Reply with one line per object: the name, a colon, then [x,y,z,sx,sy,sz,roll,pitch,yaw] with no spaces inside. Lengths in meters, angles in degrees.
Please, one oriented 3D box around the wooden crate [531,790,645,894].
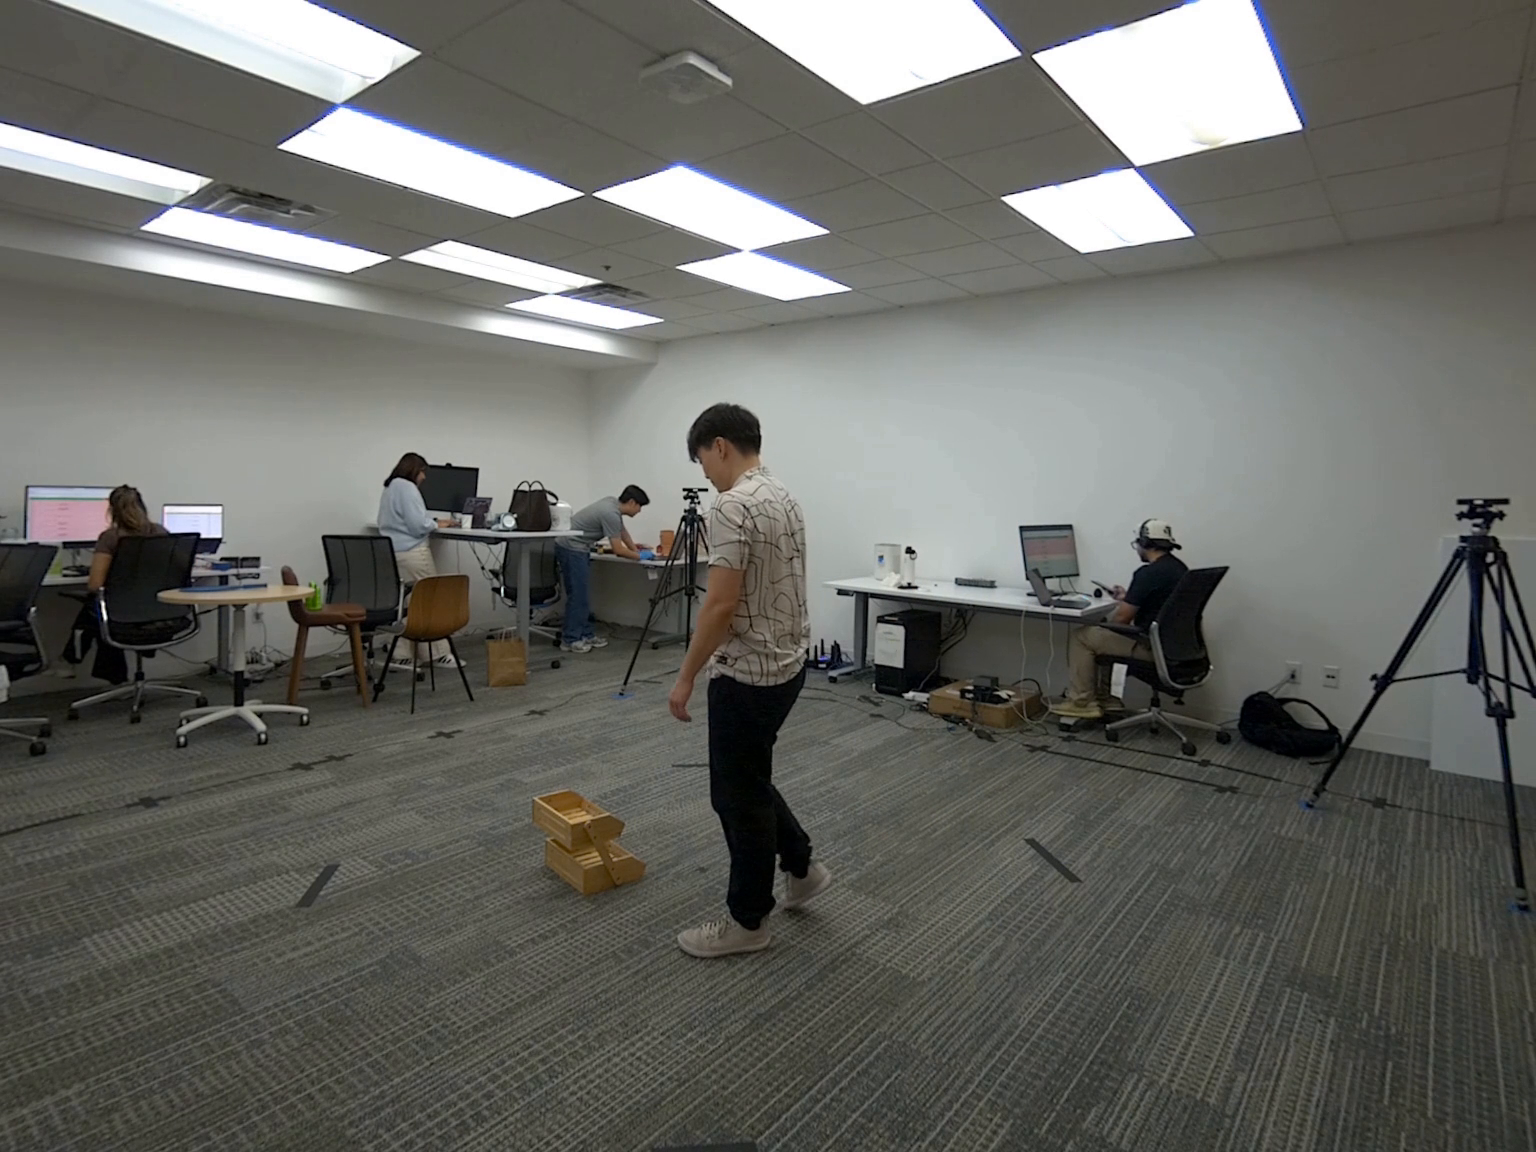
wooden crate: [-0.655,0.930,3.059,0.293,0.272,0.335,-3,6,-39]
